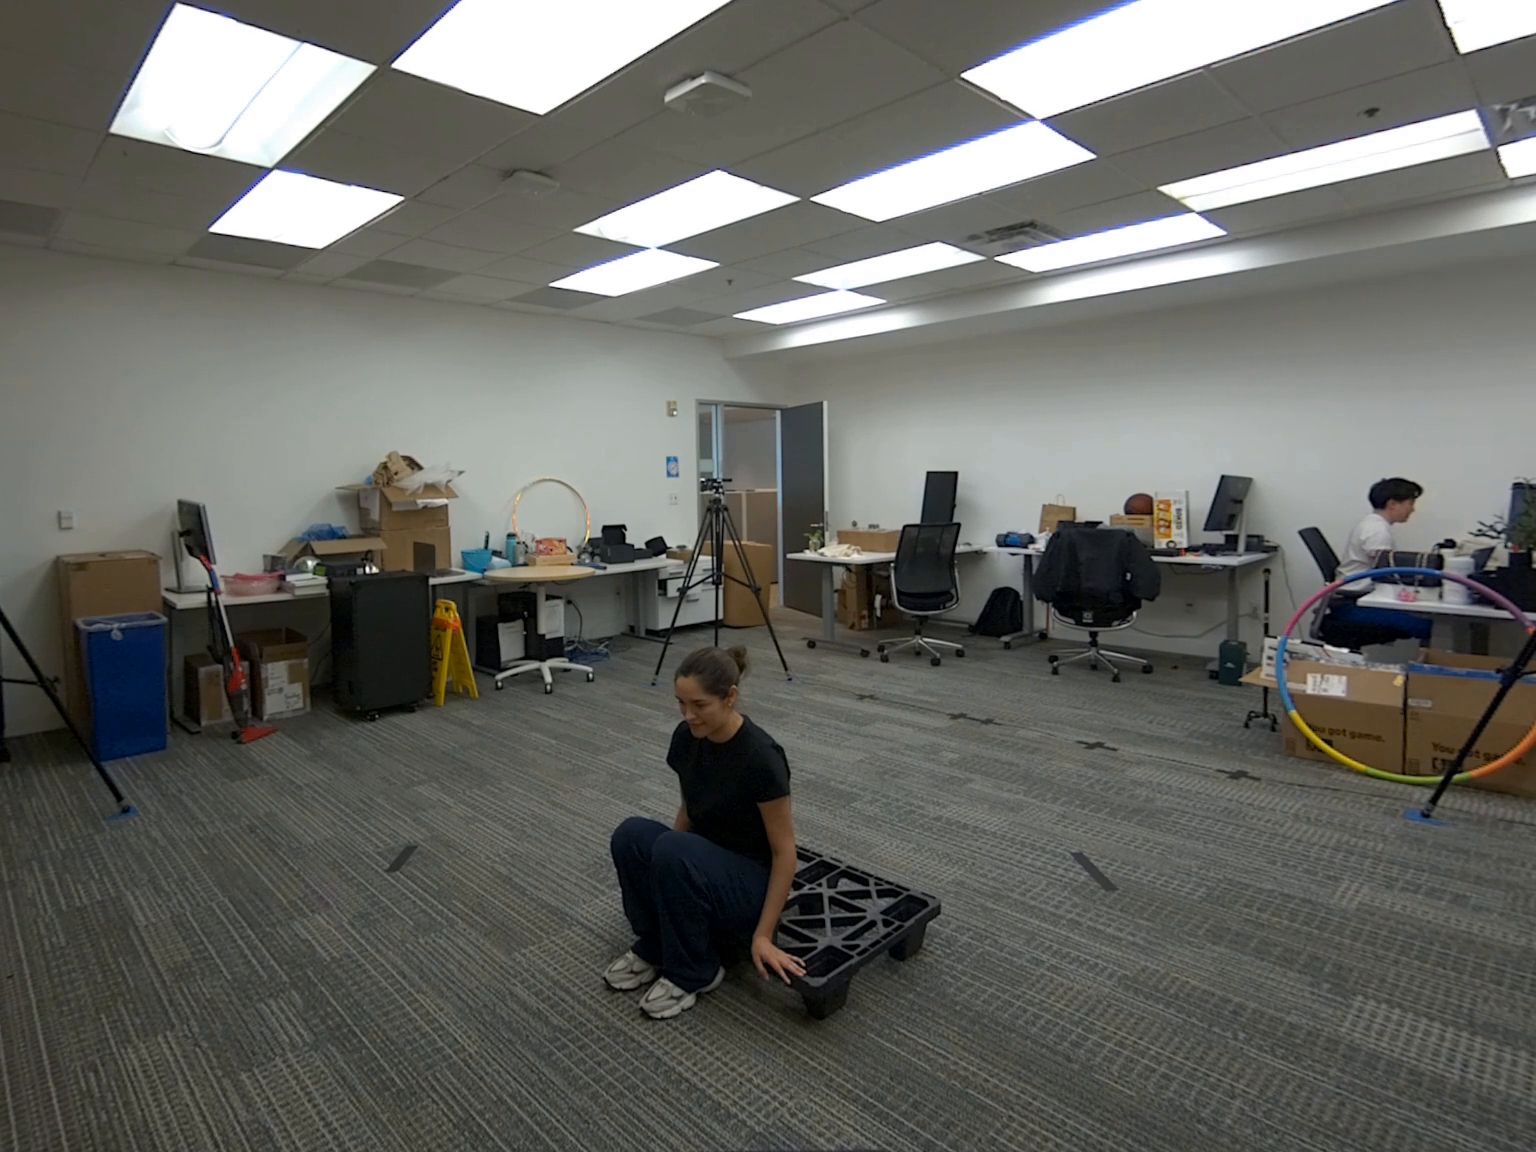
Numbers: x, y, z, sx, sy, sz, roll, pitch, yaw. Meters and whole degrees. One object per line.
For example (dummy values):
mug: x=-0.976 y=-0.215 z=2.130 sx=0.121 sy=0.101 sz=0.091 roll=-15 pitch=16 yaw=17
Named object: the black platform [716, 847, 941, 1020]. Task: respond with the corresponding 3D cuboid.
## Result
black platform: x=0.034 y=1.030 z=2.645 sx=0.831 sy=0.143 sz=0.589 roll=6 pitch=9 yaw=44
